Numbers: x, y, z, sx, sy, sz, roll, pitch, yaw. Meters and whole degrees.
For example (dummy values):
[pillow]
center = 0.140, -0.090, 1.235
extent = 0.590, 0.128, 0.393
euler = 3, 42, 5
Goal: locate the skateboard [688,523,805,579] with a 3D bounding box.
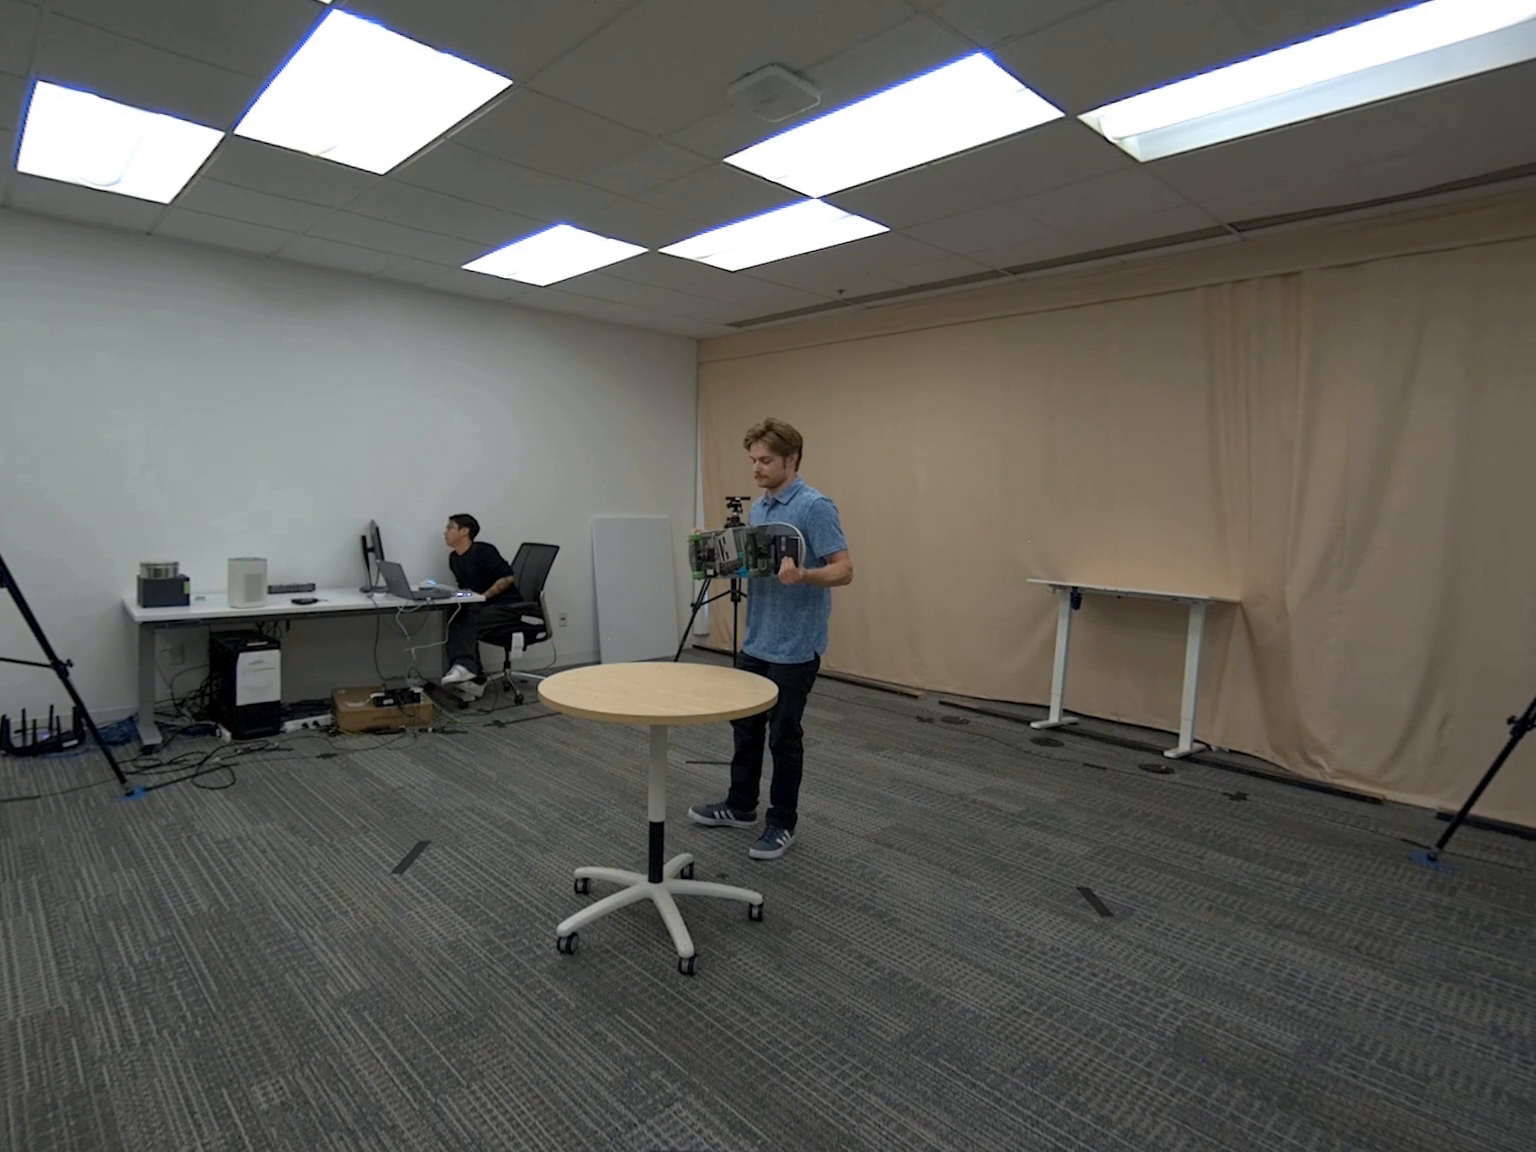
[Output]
[skateboard]
center = -0.148, -0.084, 3.208
extent = 0.108, 0.193, 0.802
euler = -6, 2, -34
